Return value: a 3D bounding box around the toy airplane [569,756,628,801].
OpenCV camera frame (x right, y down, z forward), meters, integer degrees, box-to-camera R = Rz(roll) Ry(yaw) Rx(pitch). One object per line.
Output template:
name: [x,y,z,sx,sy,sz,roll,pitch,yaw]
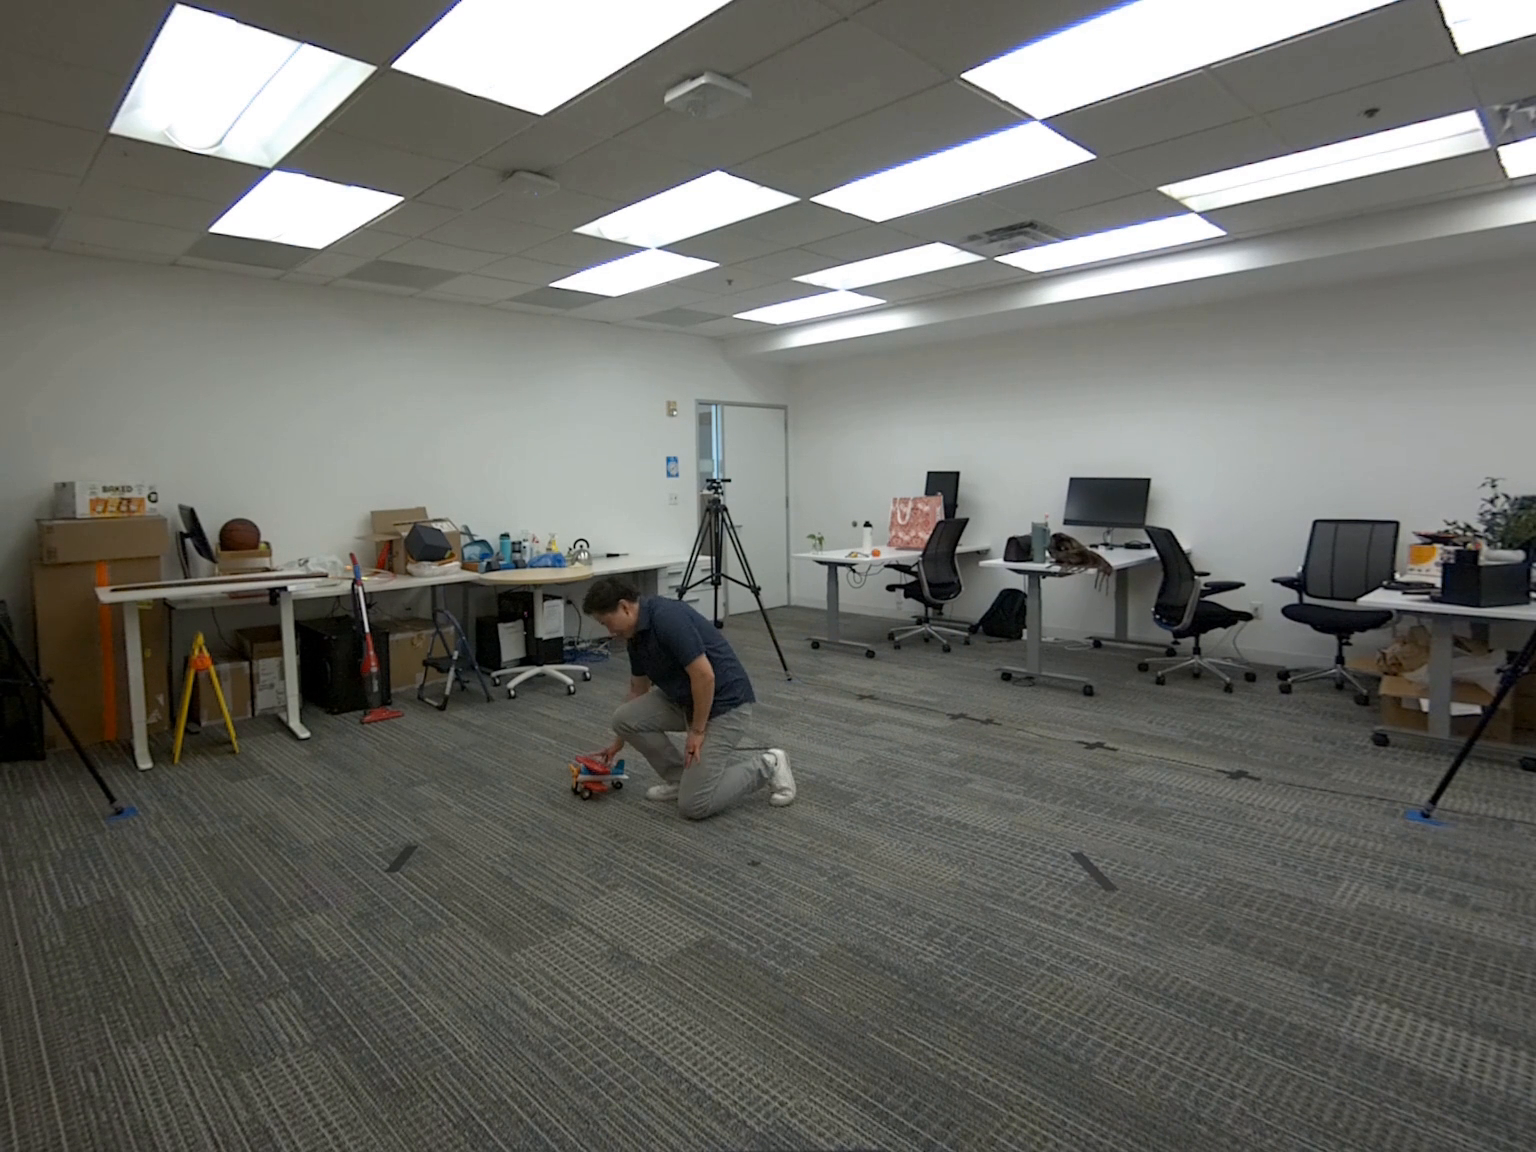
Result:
toy airplane: [-0.774,0.900,3.862,0.257,0.156,0.254,1,7,27]
